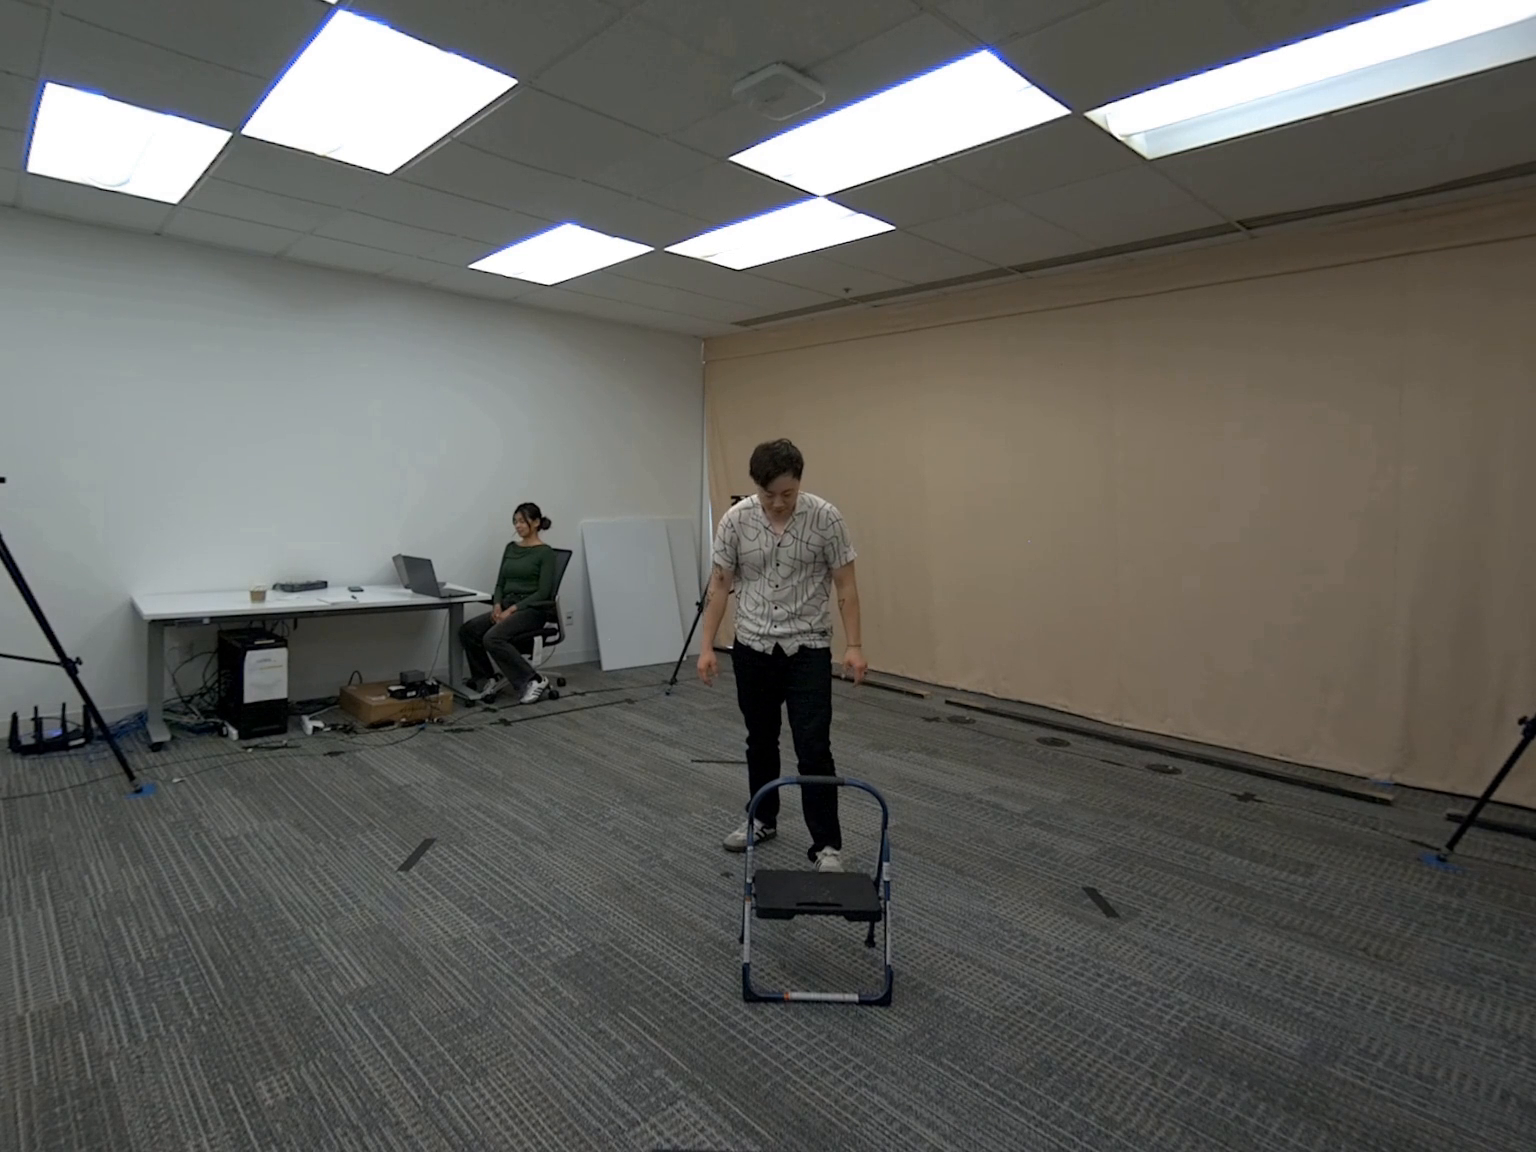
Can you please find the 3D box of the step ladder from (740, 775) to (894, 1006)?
[{"bbox_3d":[0.131,0.867,2.465,0.430,0.605,0.350,1,3,-2],"label":"step ladder"}]
